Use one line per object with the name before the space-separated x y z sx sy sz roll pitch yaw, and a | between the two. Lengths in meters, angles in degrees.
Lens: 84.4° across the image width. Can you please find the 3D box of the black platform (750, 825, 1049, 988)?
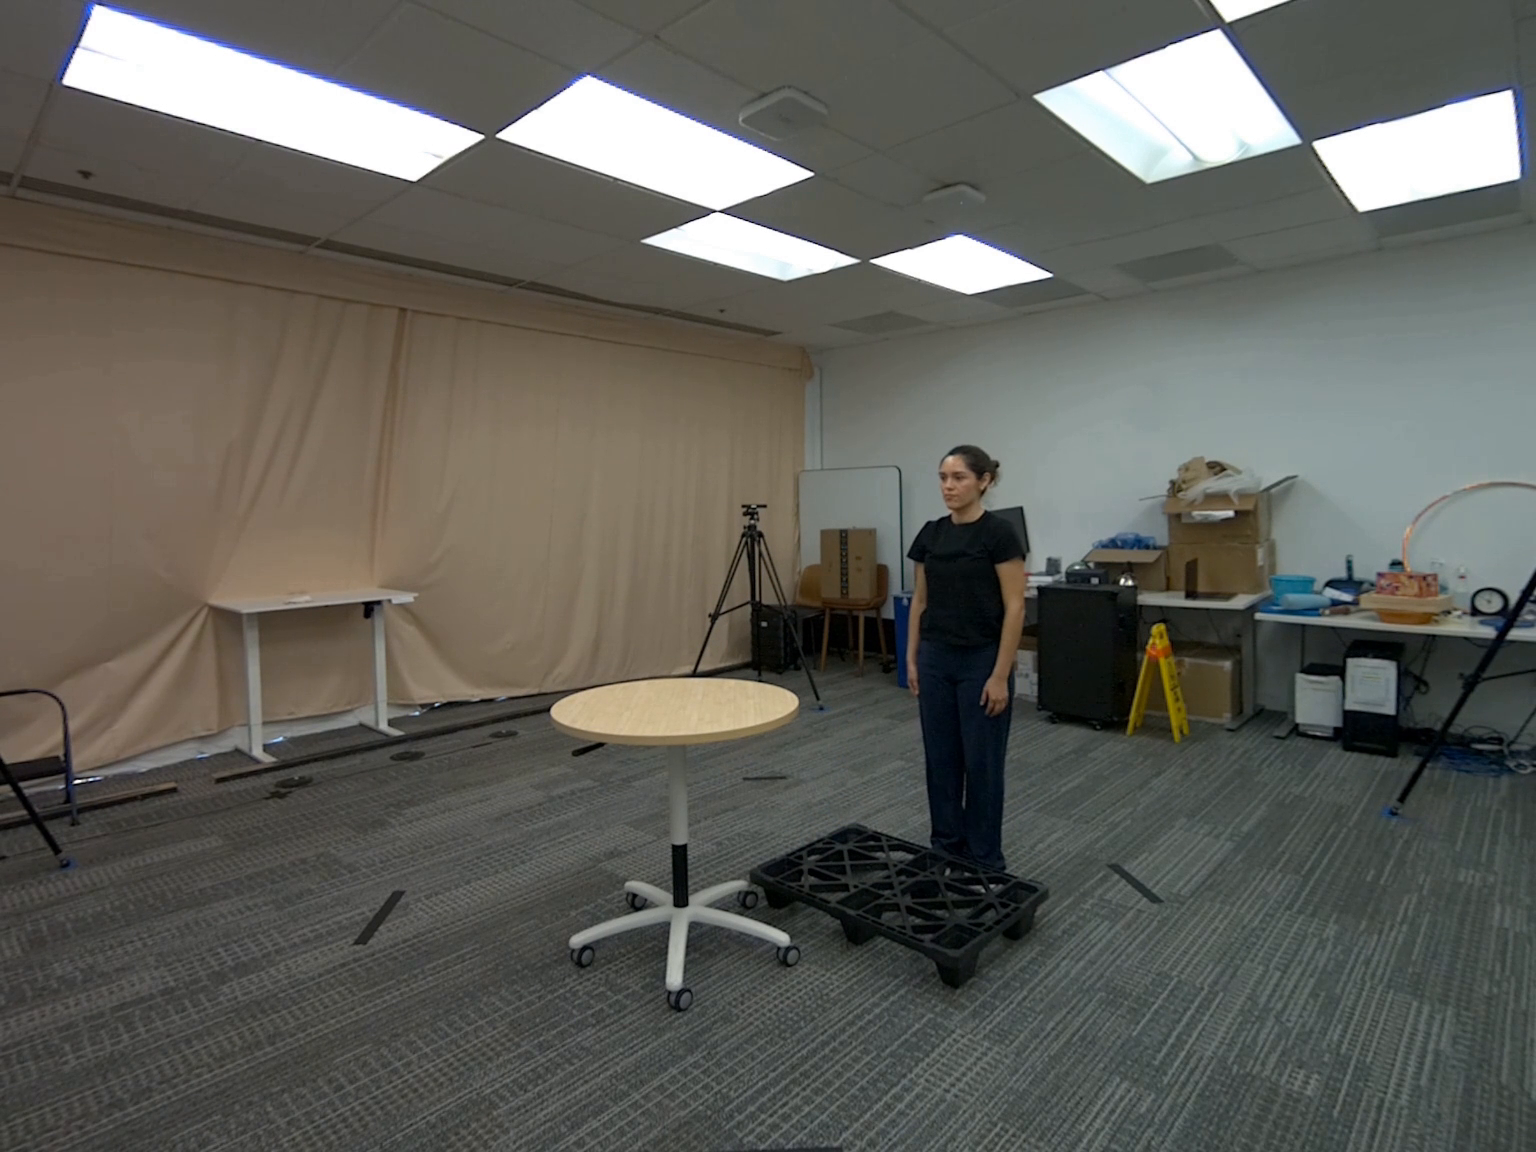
black platform | 0.439 1.081 2.826 0.832 0.143 0.587 4 7 43
